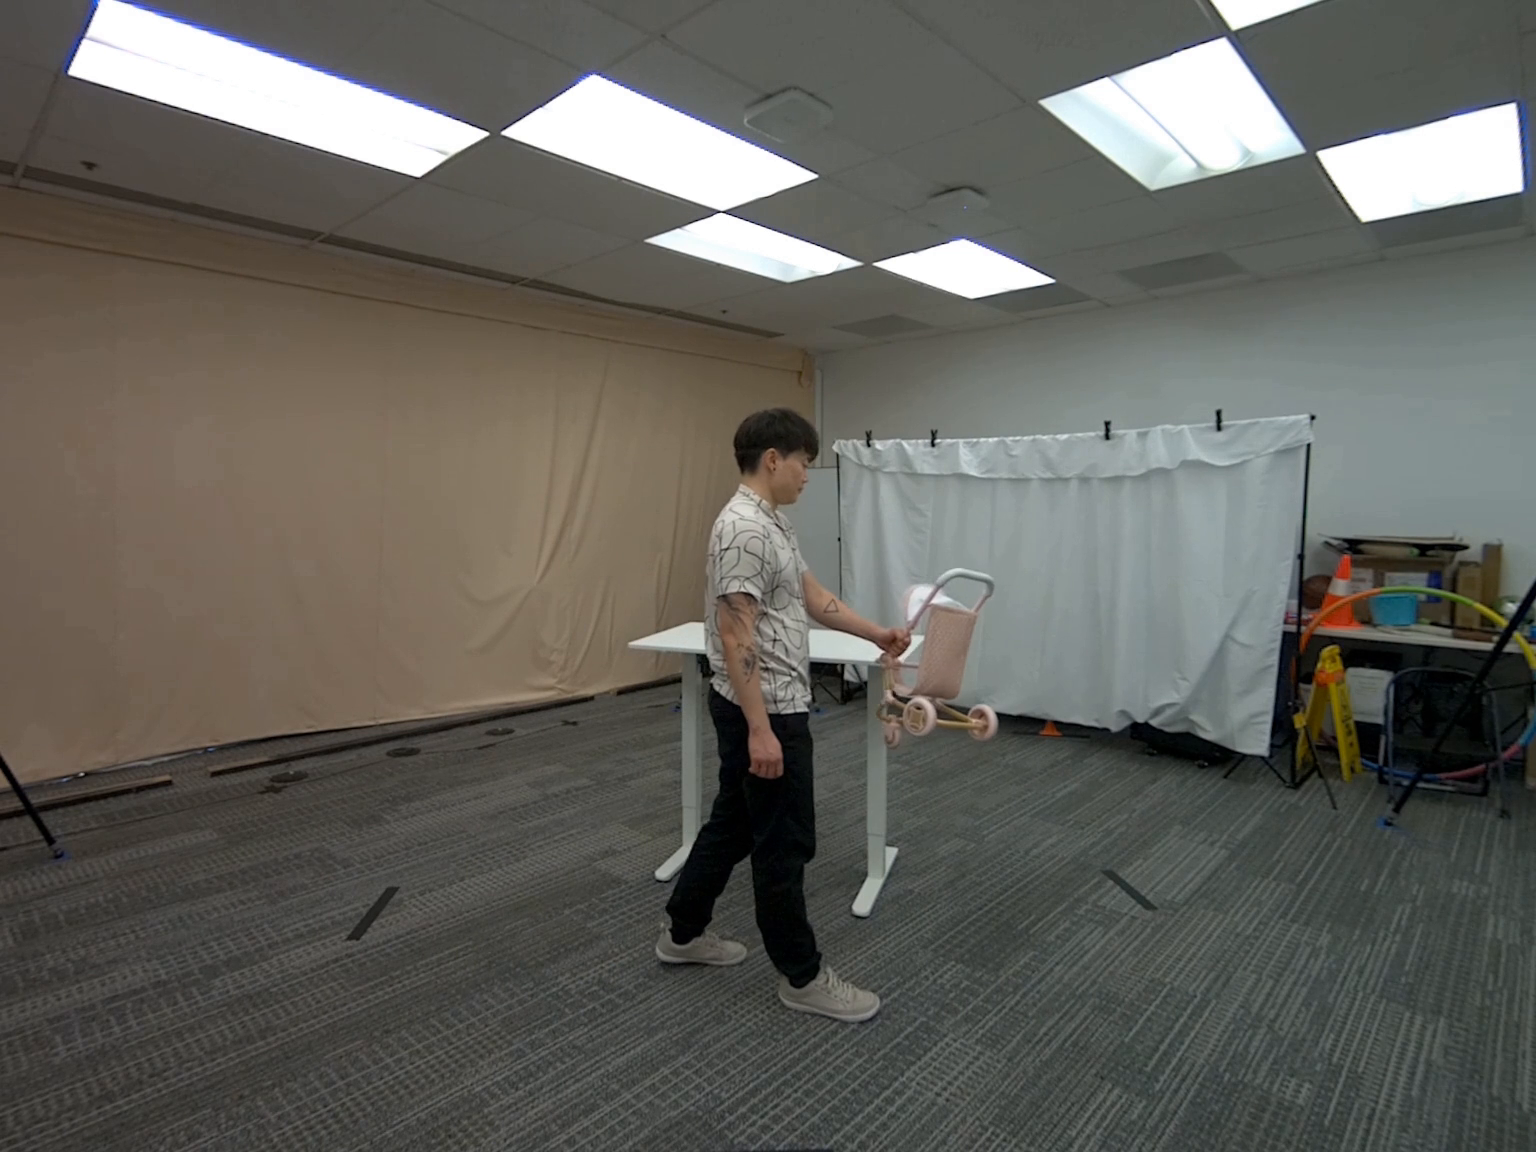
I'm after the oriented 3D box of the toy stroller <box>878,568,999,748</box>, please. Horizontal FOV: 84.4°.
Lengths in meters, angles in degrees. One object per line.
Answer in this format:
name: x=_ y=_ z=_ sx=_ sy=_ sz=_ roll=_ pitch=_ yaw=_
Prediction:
toy stroller: x=0.480 y=0.255 z=2.508 sx=0.274 sy=0.537 sz=0.349 roll=9 pitch=-8 yaw=-28
